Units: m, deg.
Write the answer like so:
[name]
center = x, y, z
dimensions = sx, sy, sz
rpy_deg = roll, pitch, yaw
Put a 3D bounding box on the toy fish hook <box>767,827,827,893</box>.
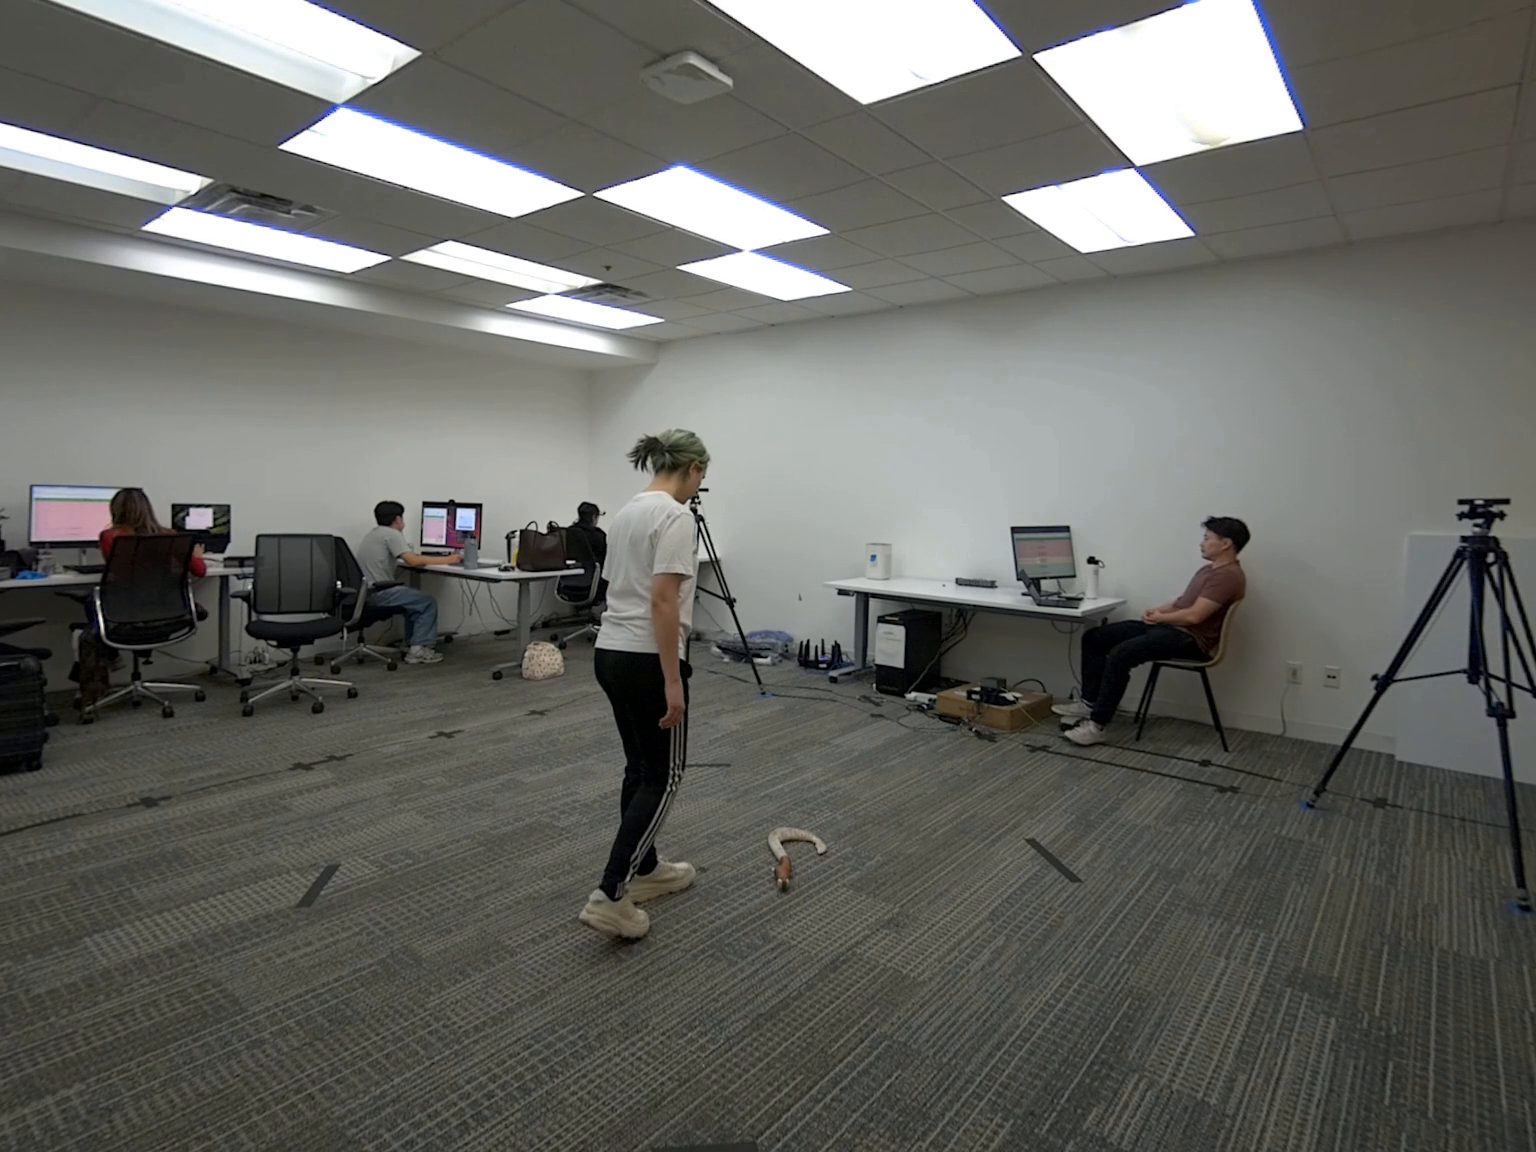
[toy fish hook]
center = 0.105, 1.047, 3.183
dimensions = 0.225, 0.048, 0.507
rpy_deg = 0, 6, 2
